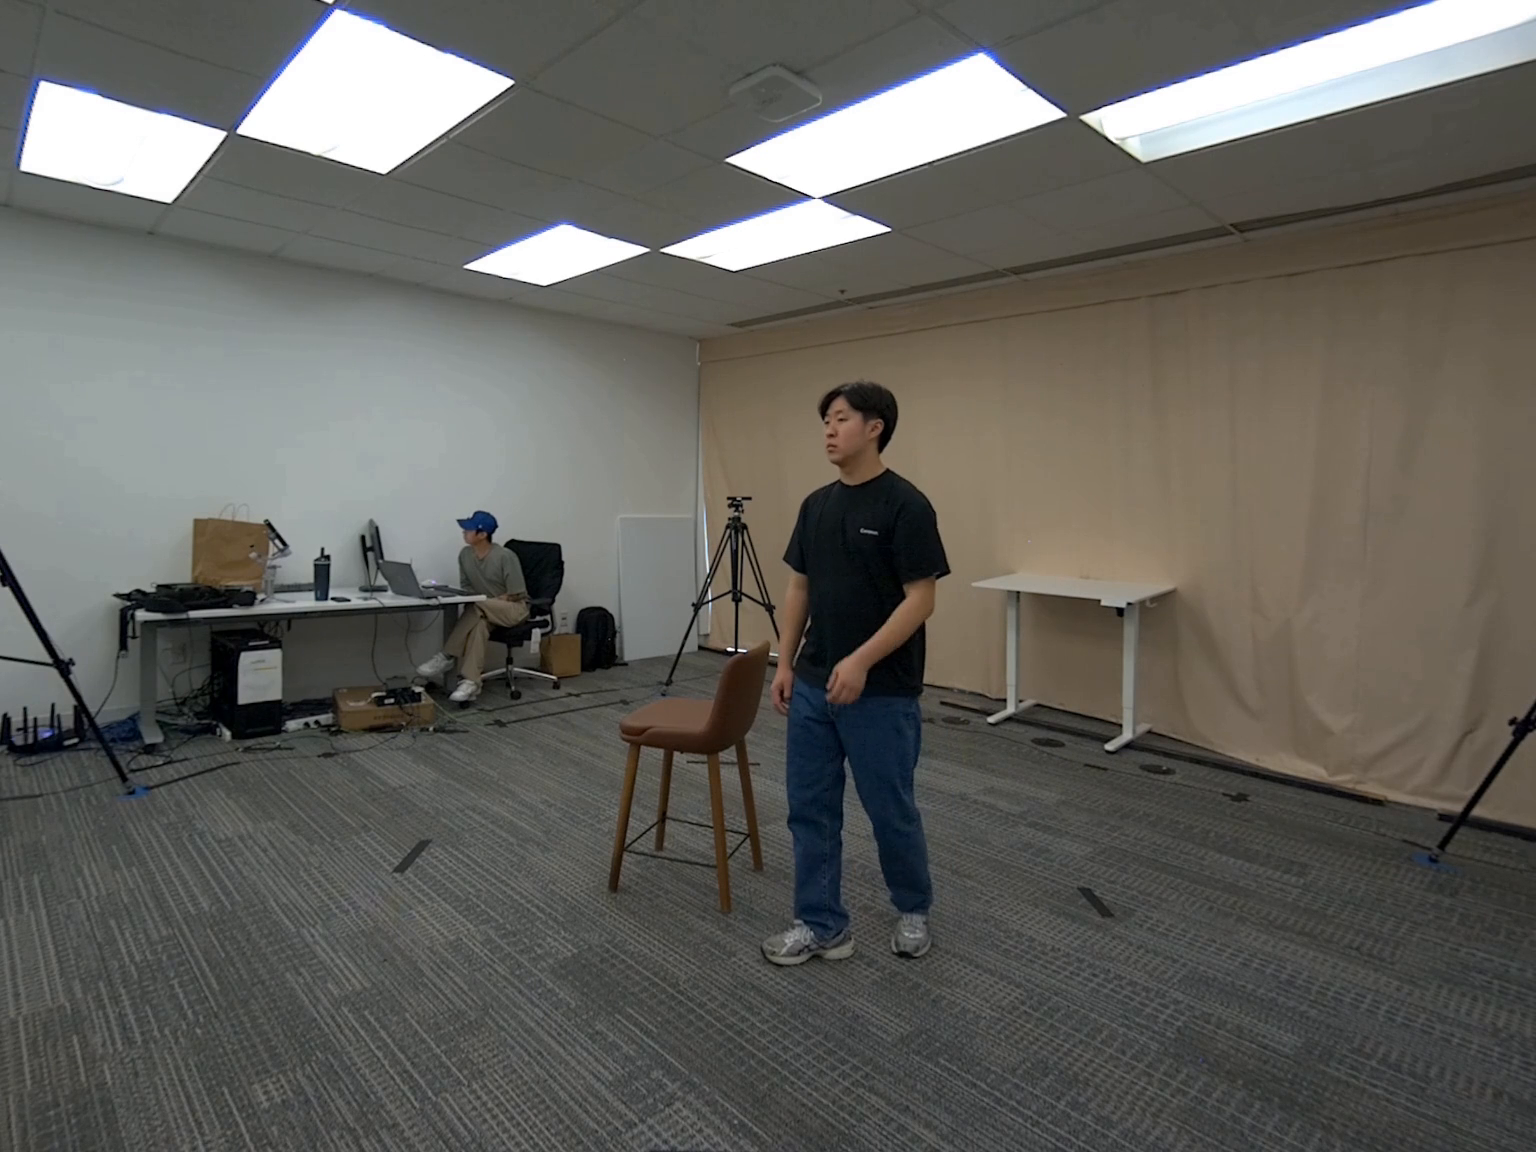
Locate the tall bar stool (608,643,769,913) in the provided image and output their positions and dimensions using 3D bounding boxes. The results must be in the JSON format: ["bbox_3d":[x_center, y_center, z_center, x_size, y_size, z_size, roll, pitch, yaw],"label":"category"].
[{"bbox_3d":[-0.274,0.676,3.039,0.476,0.887,0.450,4,5,21],"label":"tall bar stool"}]
